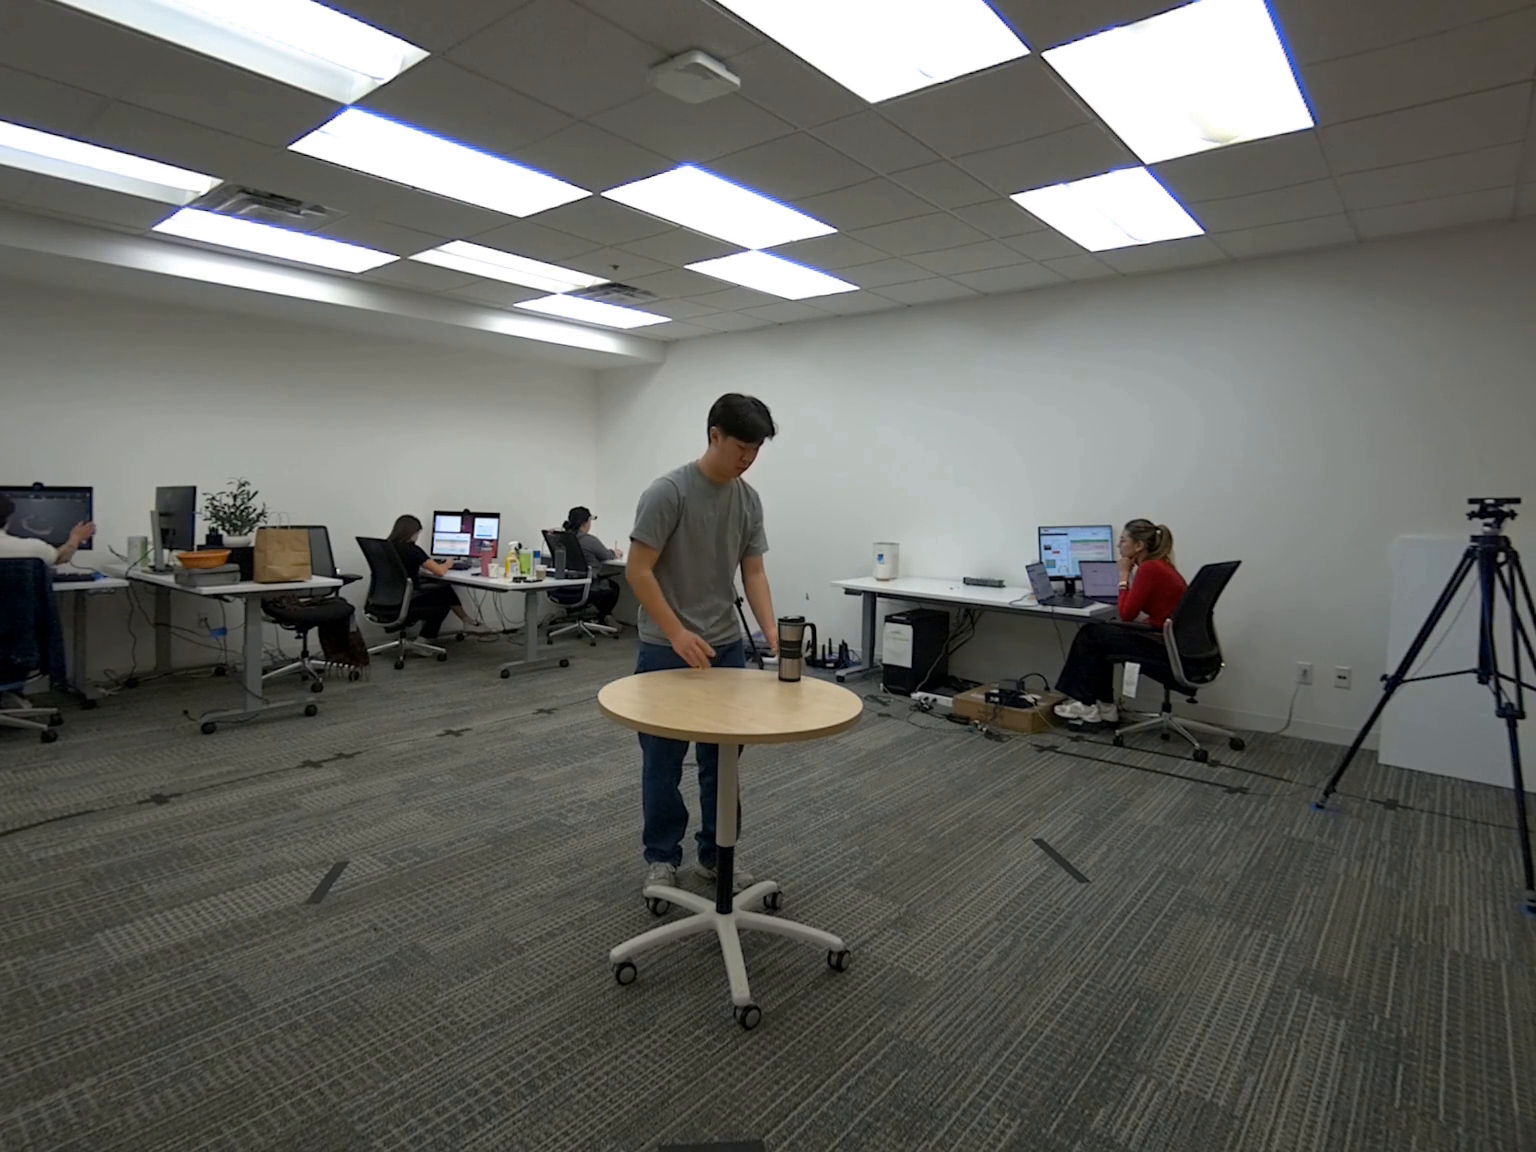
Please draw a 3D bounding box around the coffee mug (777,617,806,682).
[{"bbox_3d":[0.089,0.232,2.691,0.124,0.203,0.086,-1,-1,14],"label":"coffee mug"}]
